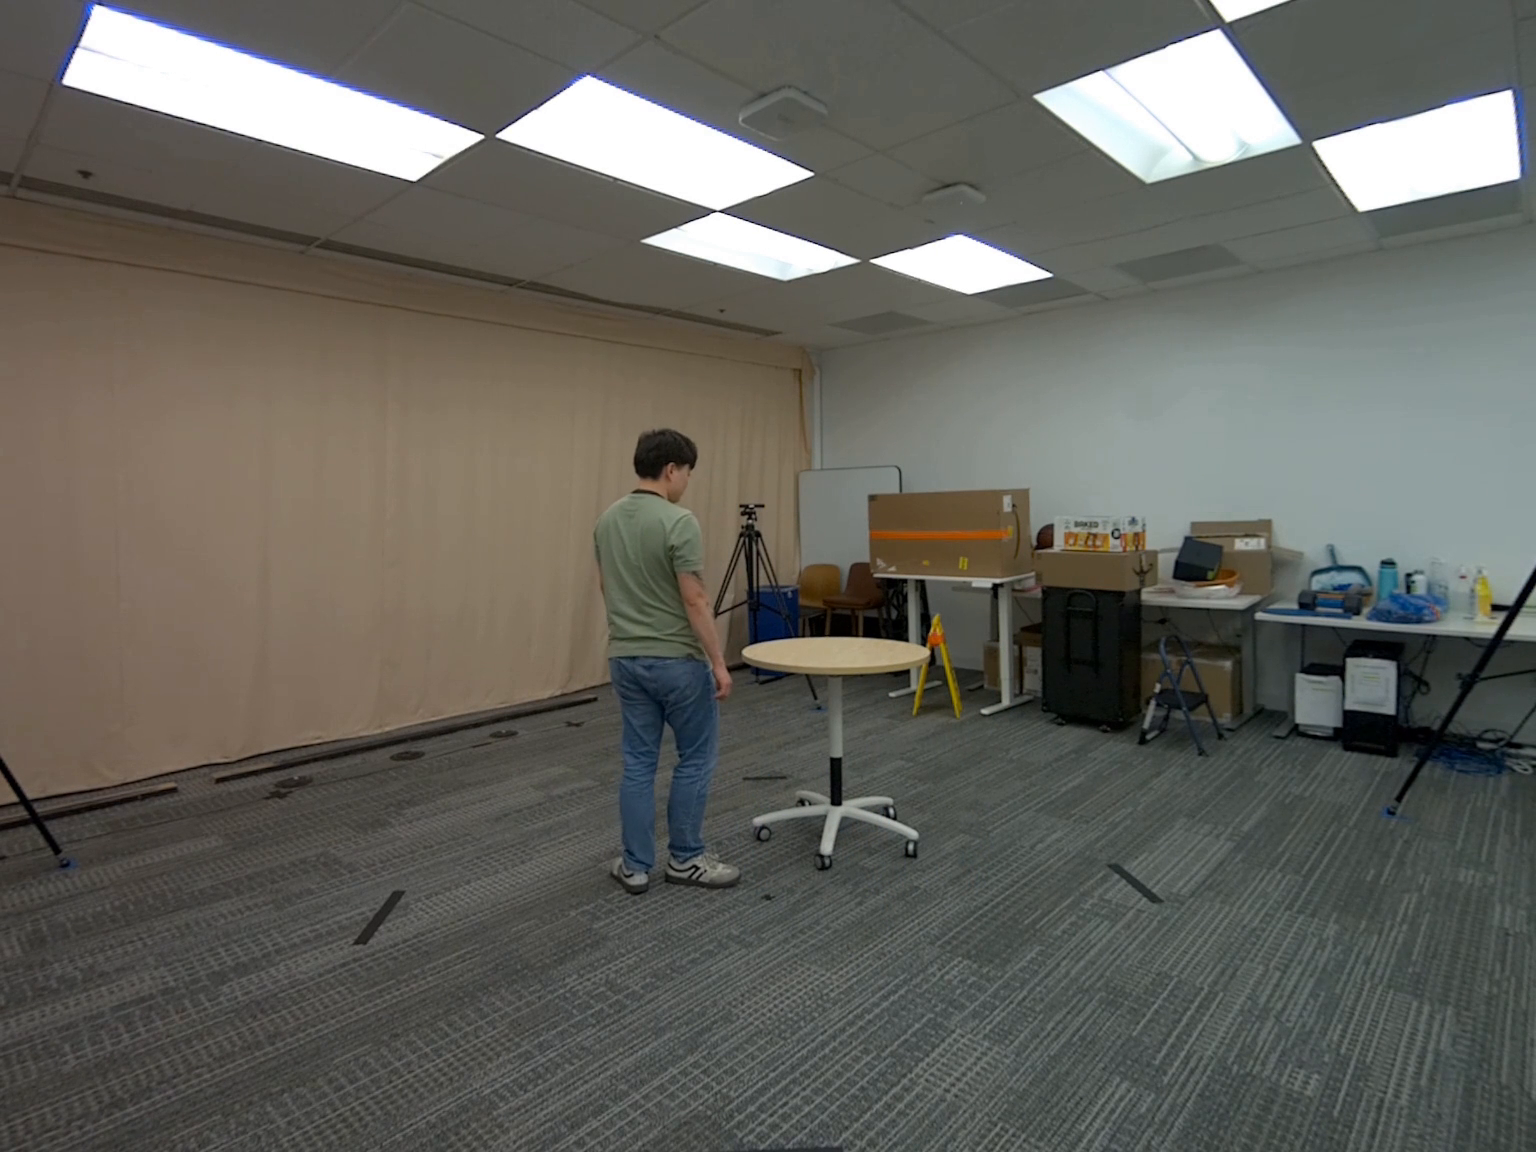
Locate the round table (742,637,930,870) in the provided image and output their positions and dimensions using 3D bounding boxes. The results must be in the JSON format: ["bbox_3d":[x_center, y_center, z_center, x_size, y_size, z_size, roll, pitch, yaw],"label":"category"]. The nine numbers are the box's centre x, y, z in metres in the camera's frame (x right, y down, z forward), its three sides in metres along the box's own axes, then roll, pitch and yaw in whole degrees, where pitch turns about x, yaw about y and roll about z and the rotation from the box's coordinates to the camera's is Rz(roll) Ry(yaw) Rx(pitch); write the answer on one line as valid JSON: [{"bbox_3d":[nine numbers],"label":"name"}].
[{"bbox_3d":[0.279,0.701,3.486,0.763,0.792,0.766,-1,3,-2],"label":"round table"}]
